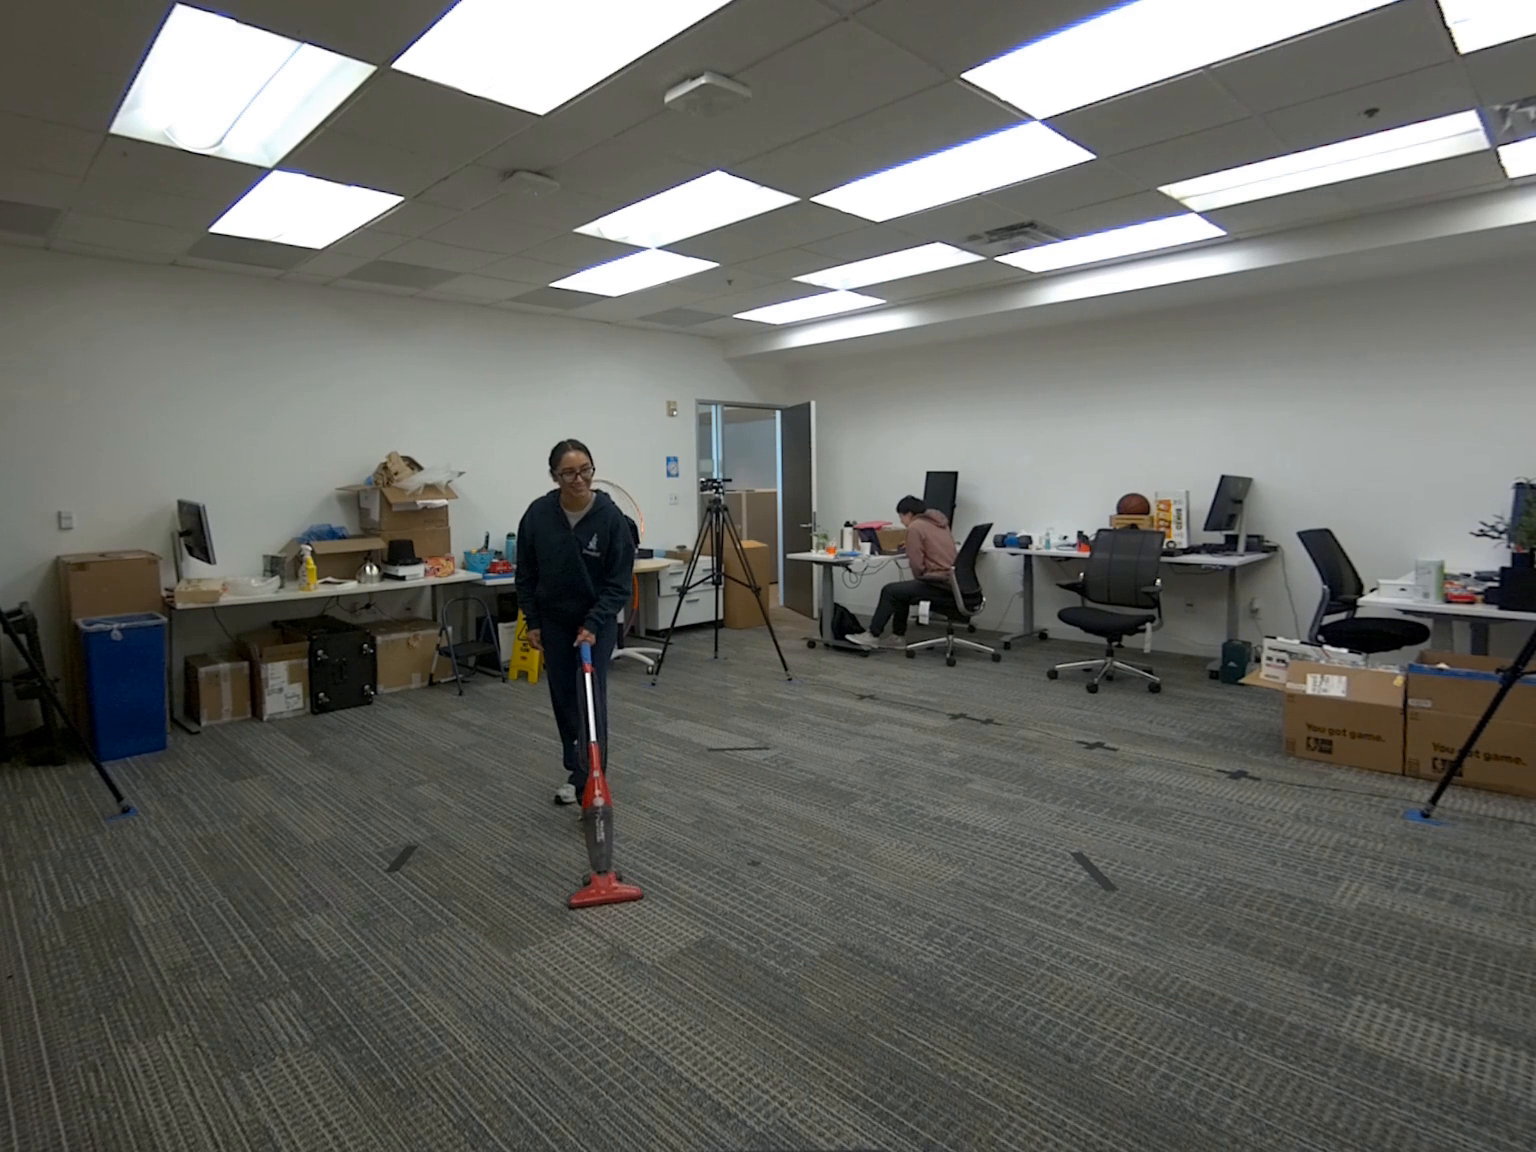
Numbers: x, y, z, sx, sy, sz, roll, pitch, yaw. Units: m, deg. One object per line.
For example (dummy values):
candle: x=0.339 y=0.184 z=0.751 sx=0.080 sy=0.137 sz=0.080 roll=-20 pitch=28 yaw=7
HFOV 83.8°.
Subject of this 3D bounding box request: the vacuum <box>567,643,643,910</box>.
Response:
vacuum: x=-0.653 y=0.656 z=3.203 sx=0.249 sy=1.083 sz=0.141 roll=-2 pitch=-39 yaw=-16
